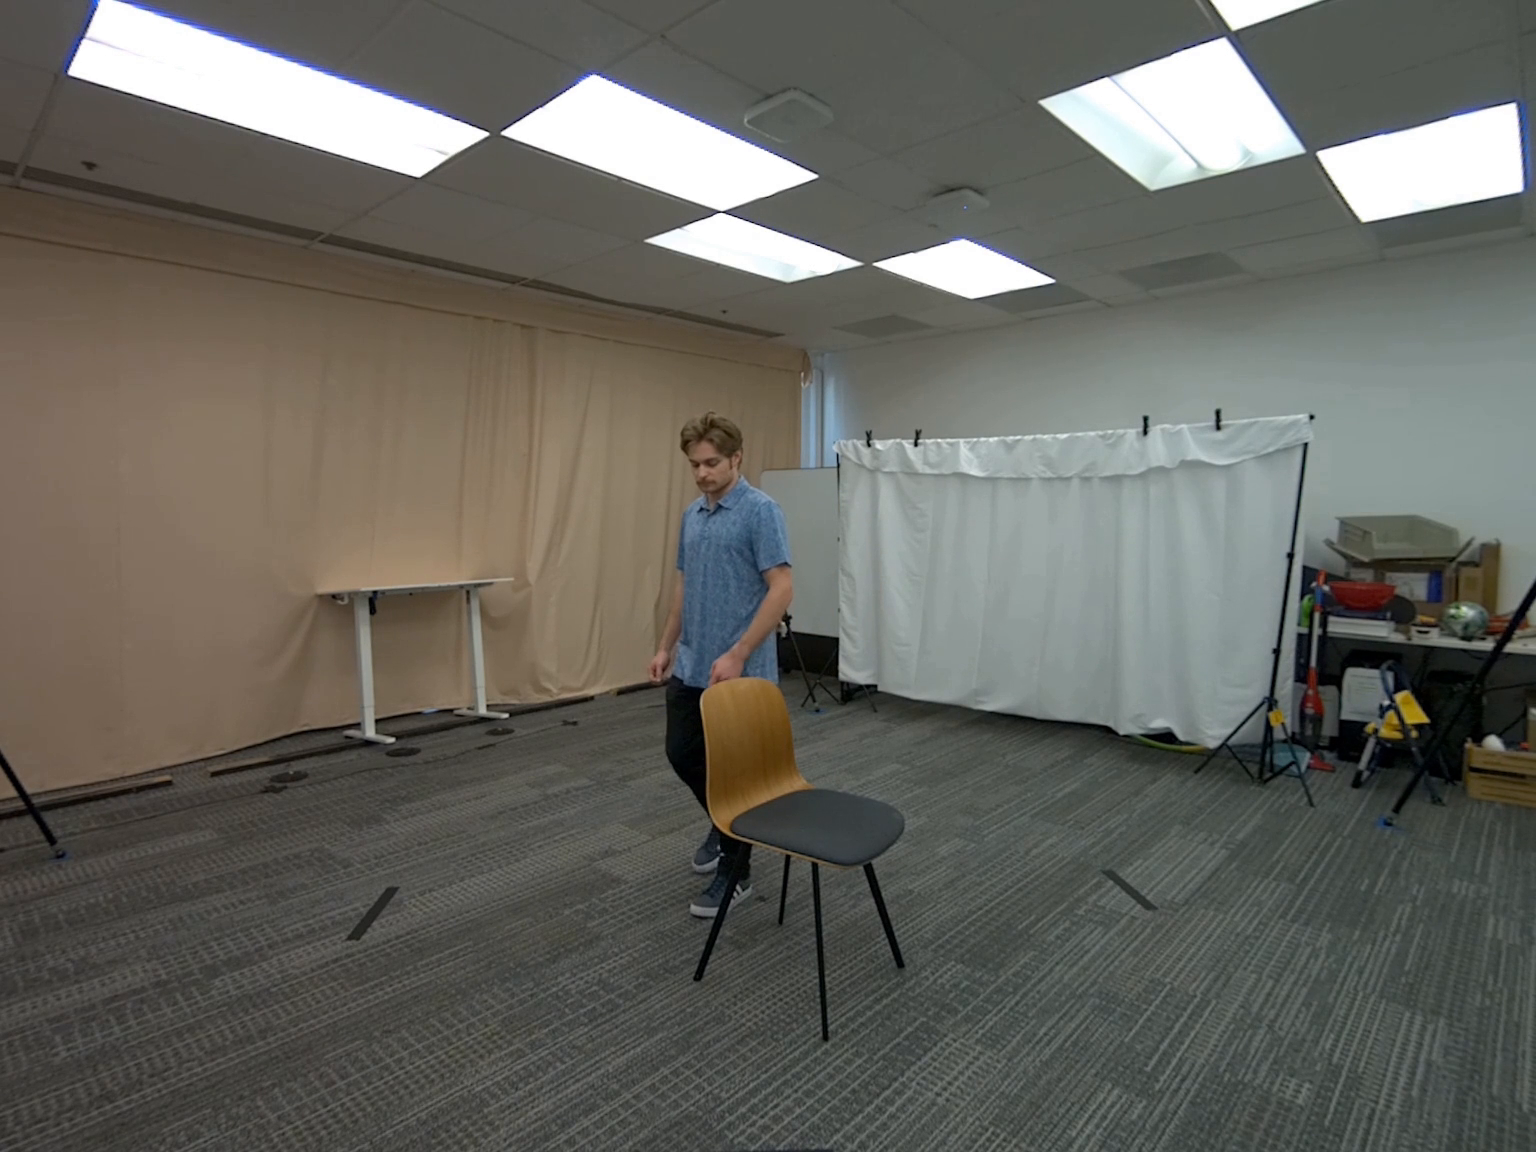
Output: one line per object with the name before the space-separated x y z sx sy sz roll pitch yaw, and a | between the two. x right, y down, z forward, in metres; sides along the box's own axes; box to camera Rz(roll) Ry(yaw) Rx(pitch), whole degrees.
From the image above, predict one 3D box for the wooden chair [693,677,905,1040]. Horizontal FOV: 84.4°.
wooden chair | 0.111 0.761 2.469 0.539 0.877 0.464 -3 1 37
